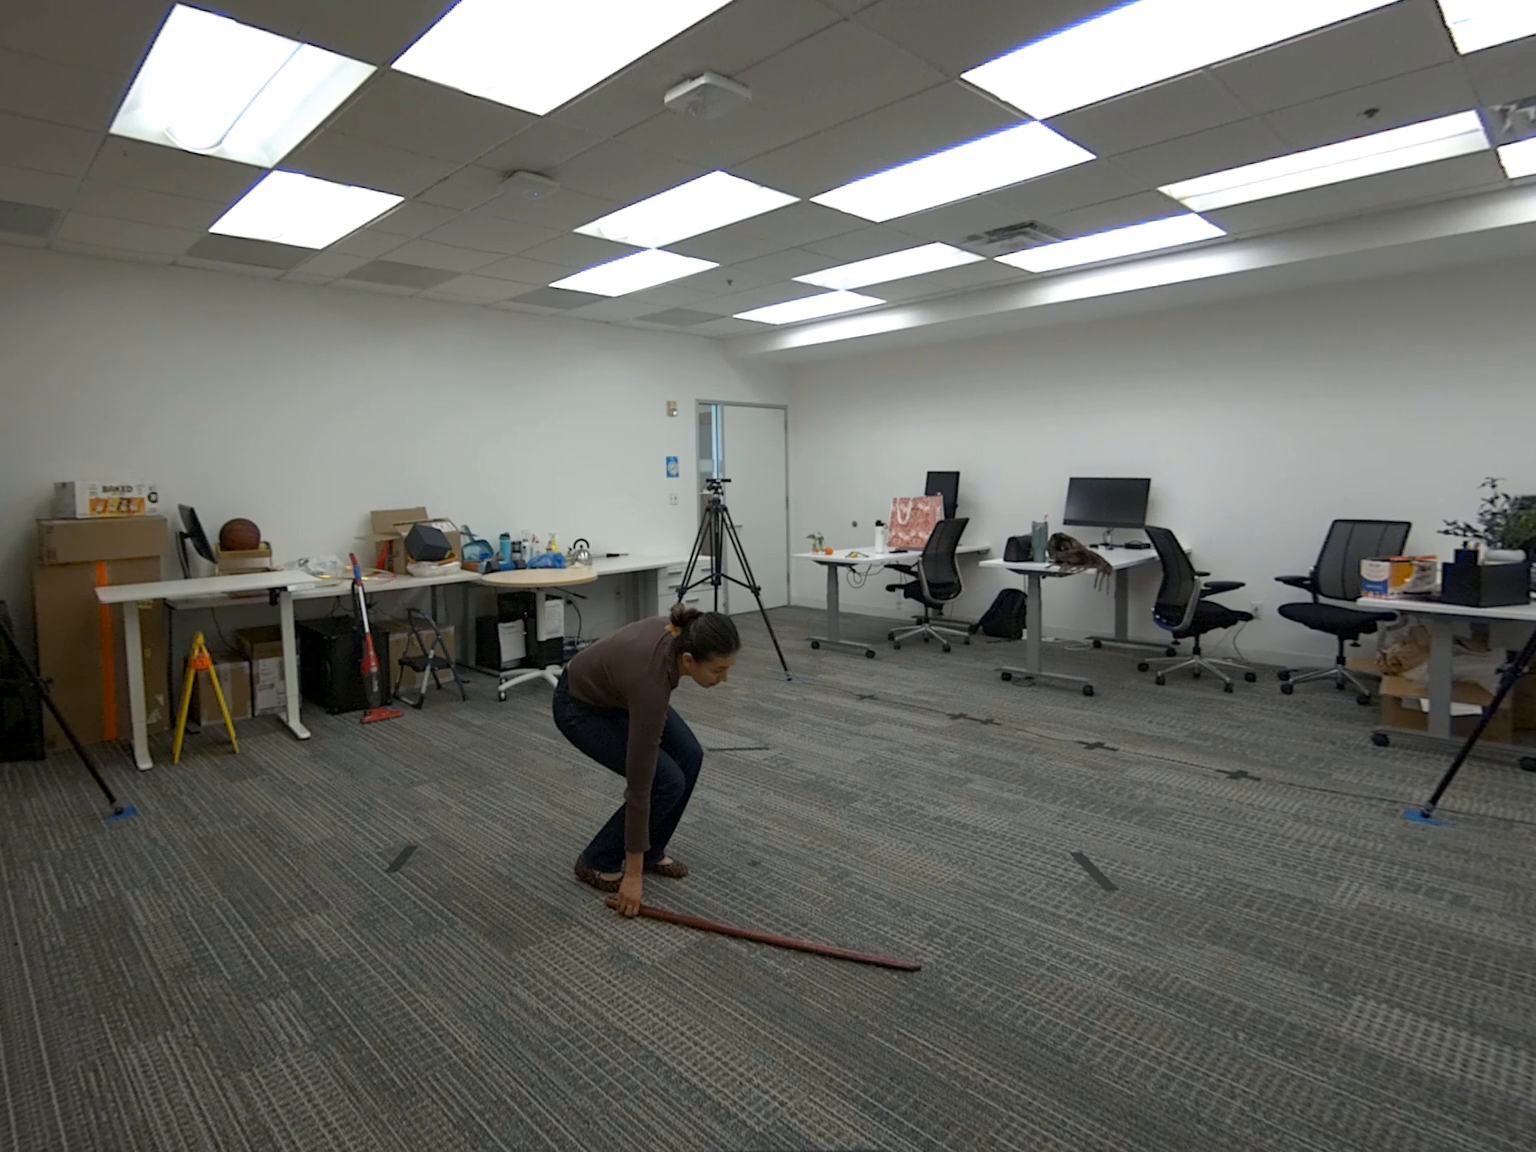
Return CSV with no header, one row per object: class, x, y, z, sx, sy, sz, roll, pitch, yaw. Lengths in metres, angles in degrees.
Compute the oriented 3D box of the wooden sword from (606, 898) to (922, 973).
wooden sword,-0.049,1.071,2.604,1.046,0.024,0.049,2,-19,22
